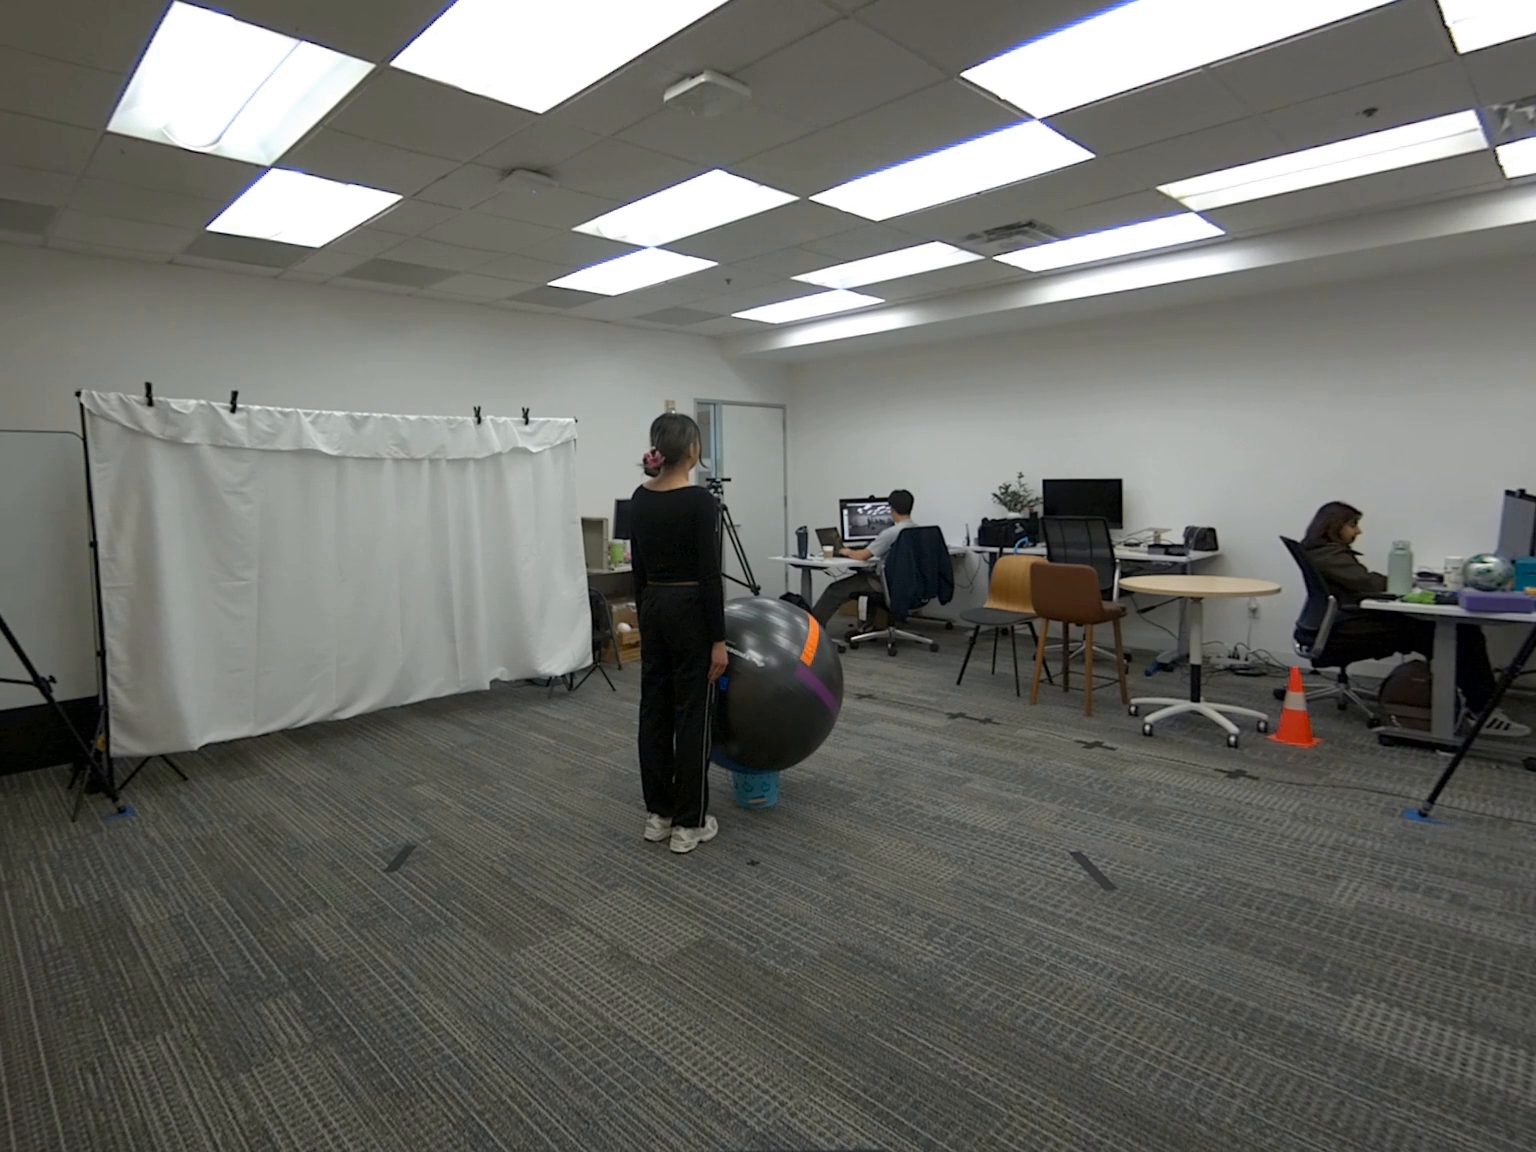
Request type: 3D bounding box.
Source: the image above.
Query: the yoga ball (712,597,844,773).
[{"bbox_3d":[-0.055,0.466,3.691,0.757,0.755,0.762,-1,5,-2],"label":"yoga ball"}]
